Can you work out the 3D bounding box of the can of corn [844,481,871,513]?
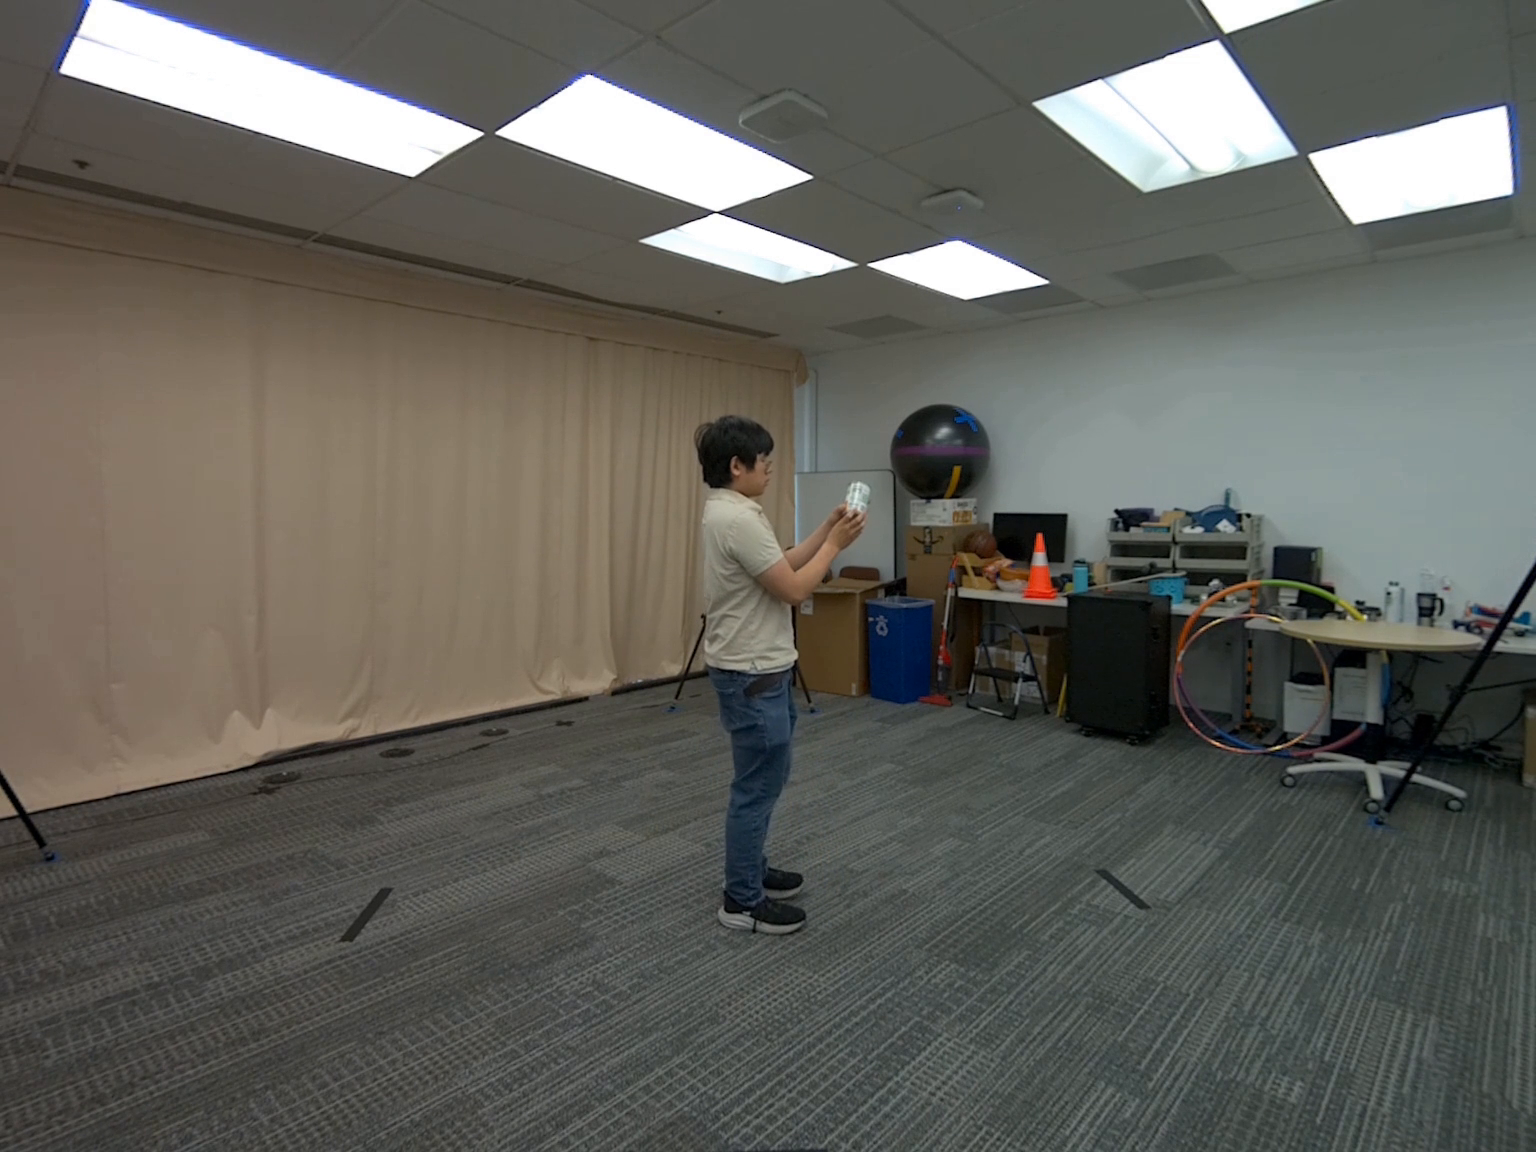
[{"bbox_3d":[0.298,-0.249,2.800,0.074,0.112,0.073,13,-17,2],"label":"can of corn"}]
